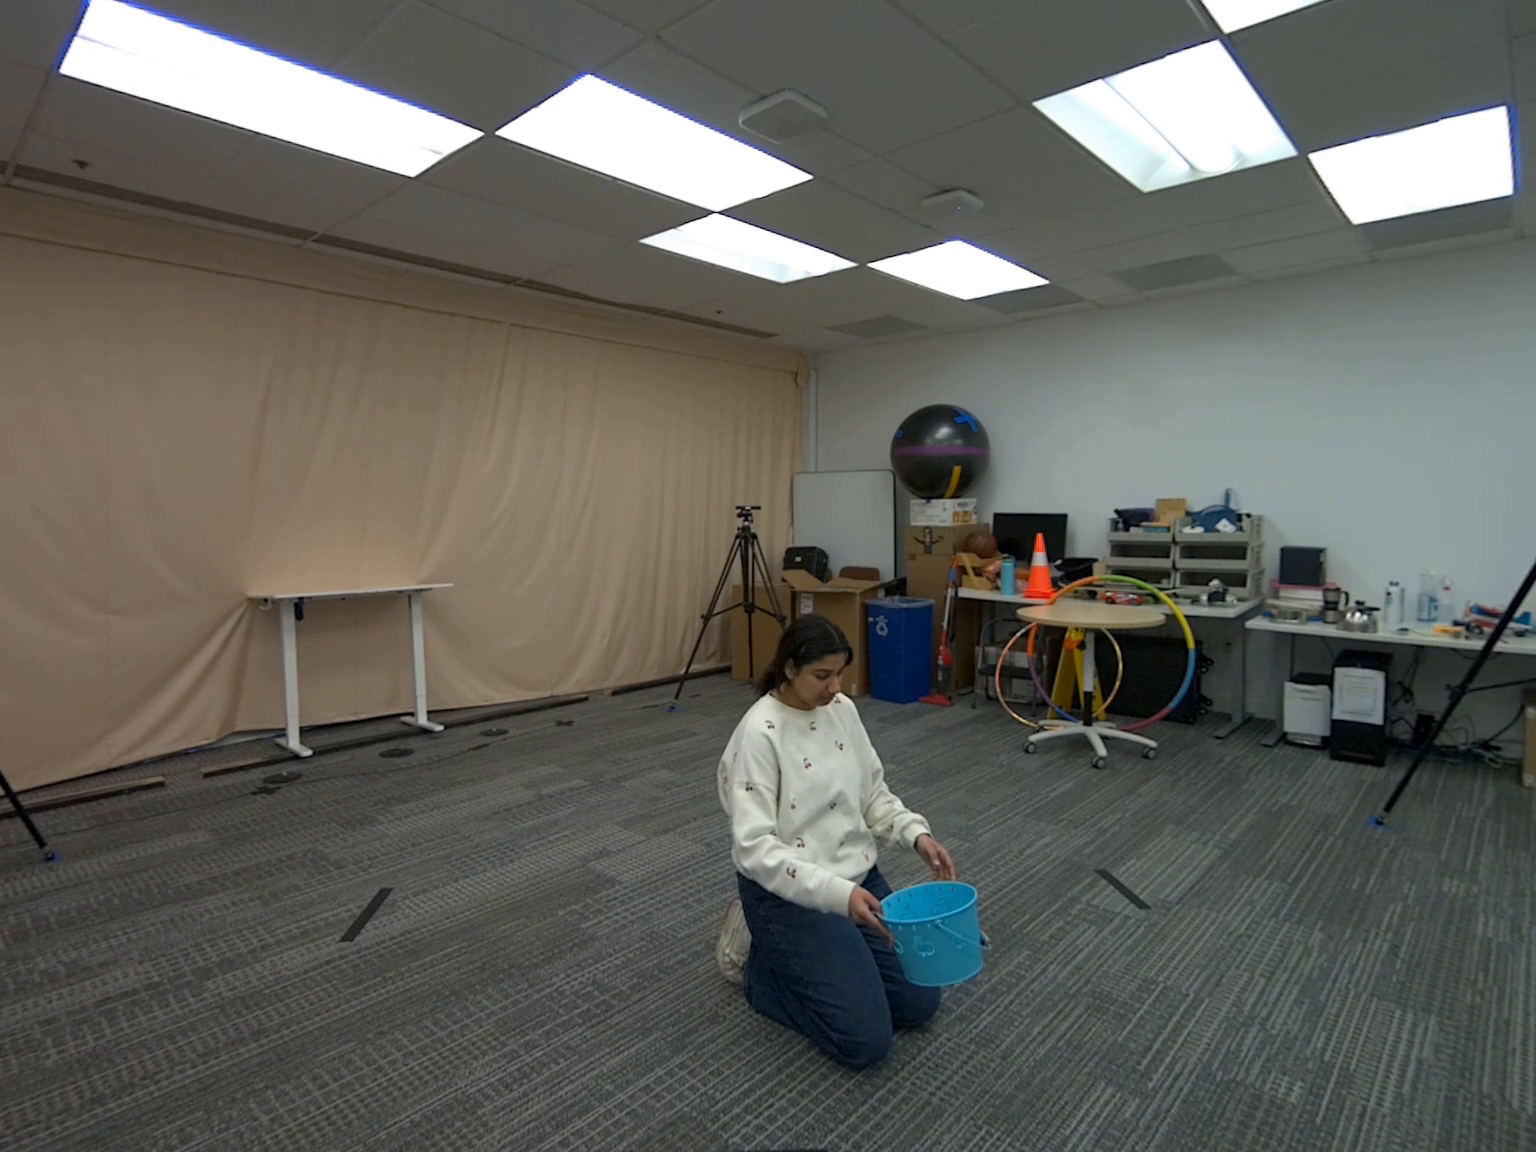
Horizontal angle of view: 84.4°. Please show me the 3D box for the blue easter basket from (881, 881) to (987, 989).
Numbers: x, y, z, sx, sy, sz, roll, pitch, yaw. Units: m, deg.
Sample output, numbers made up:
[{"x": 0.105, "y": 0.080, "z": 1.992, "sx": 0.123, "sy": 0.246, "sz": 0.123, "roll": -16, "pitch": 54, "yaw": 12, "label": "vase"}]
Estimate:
[{"x": 0.385, "y": 0.826, "z": 1.936, "sx": 0.243, "sy": 0.156, "sz": 0.243, "roll": -15, "pitch": -2, "yaw": -3, "label": "blue easter basket"}]
